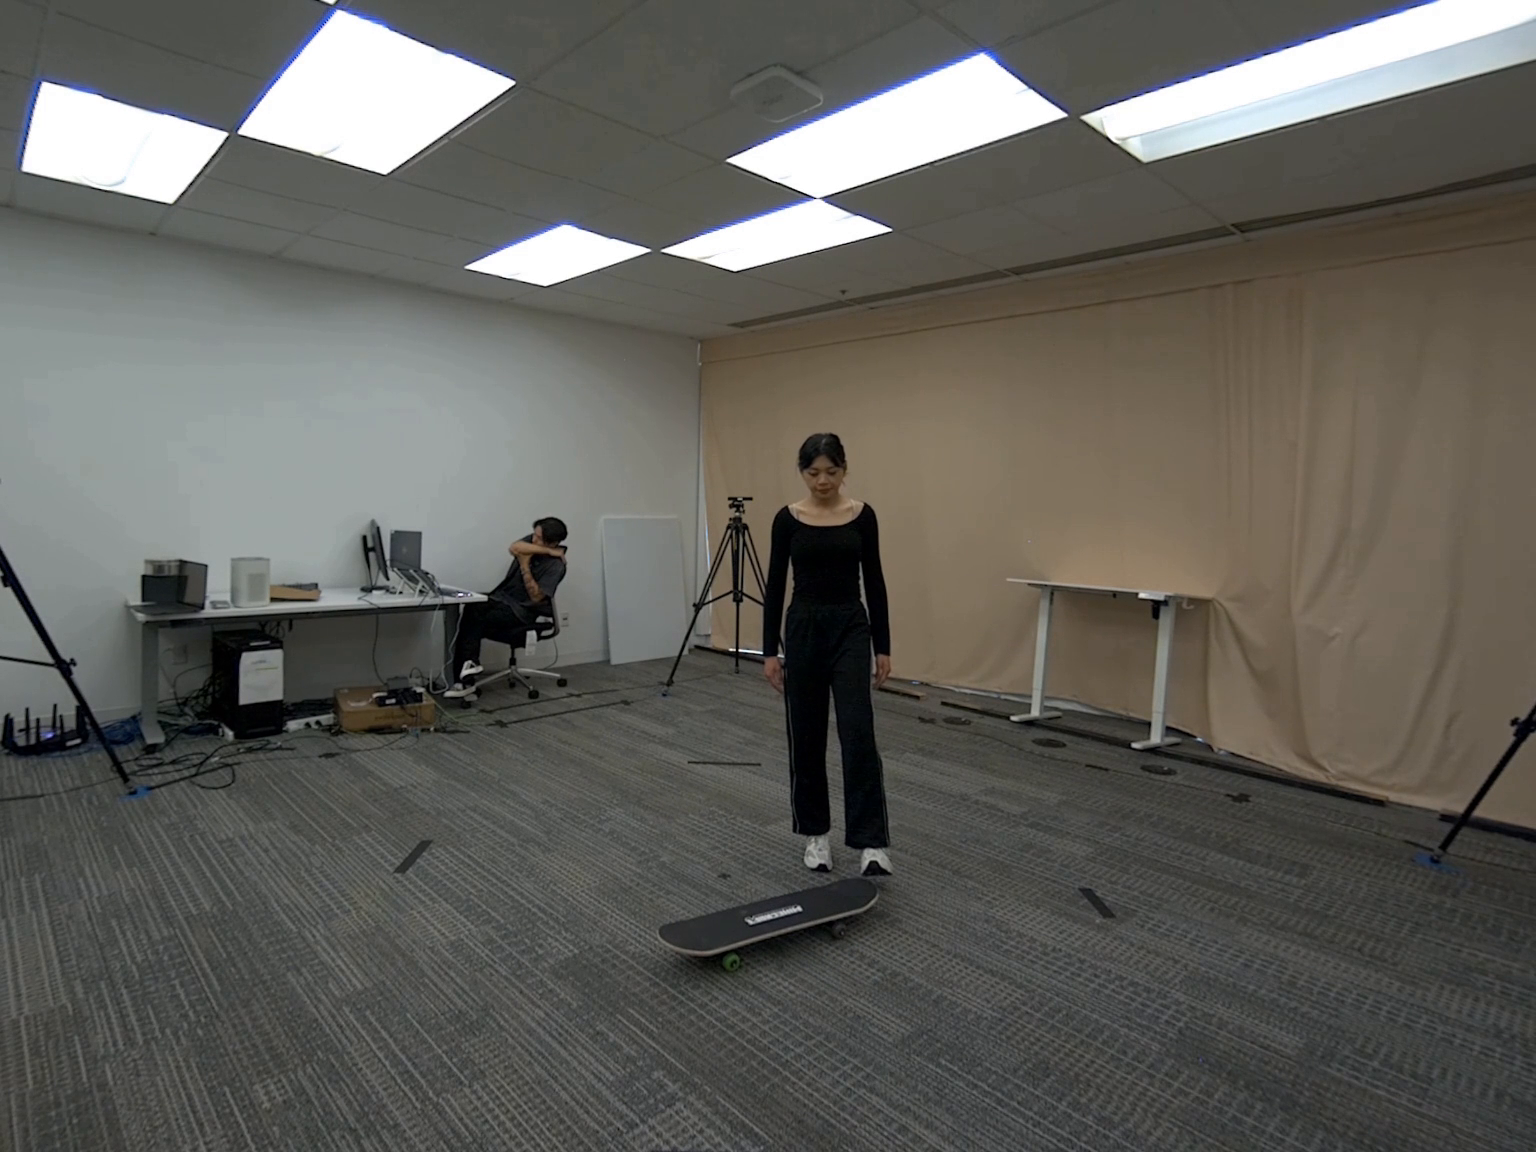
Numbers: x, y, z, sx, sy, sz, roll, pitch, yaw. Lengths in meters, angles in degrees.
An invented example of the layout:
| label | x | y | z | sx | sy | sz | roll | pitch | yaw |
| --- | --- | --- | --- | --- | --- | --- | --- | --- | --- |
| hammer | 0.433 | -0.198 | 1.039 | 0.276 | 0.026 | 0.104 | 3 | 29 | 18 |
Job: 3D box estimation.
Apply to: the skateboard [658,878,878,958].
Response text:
| label | x | y | z | sx | sy | sz | roll | pitch | yaw |
| --- | --- | --- | --- | --- | --- | --- | --- | --- | --- |
| skateboard | 0.019 | 1.097 | 2.638 | 0.770 | 0.110 | 0.198 | -1 | 5 | -30 |
